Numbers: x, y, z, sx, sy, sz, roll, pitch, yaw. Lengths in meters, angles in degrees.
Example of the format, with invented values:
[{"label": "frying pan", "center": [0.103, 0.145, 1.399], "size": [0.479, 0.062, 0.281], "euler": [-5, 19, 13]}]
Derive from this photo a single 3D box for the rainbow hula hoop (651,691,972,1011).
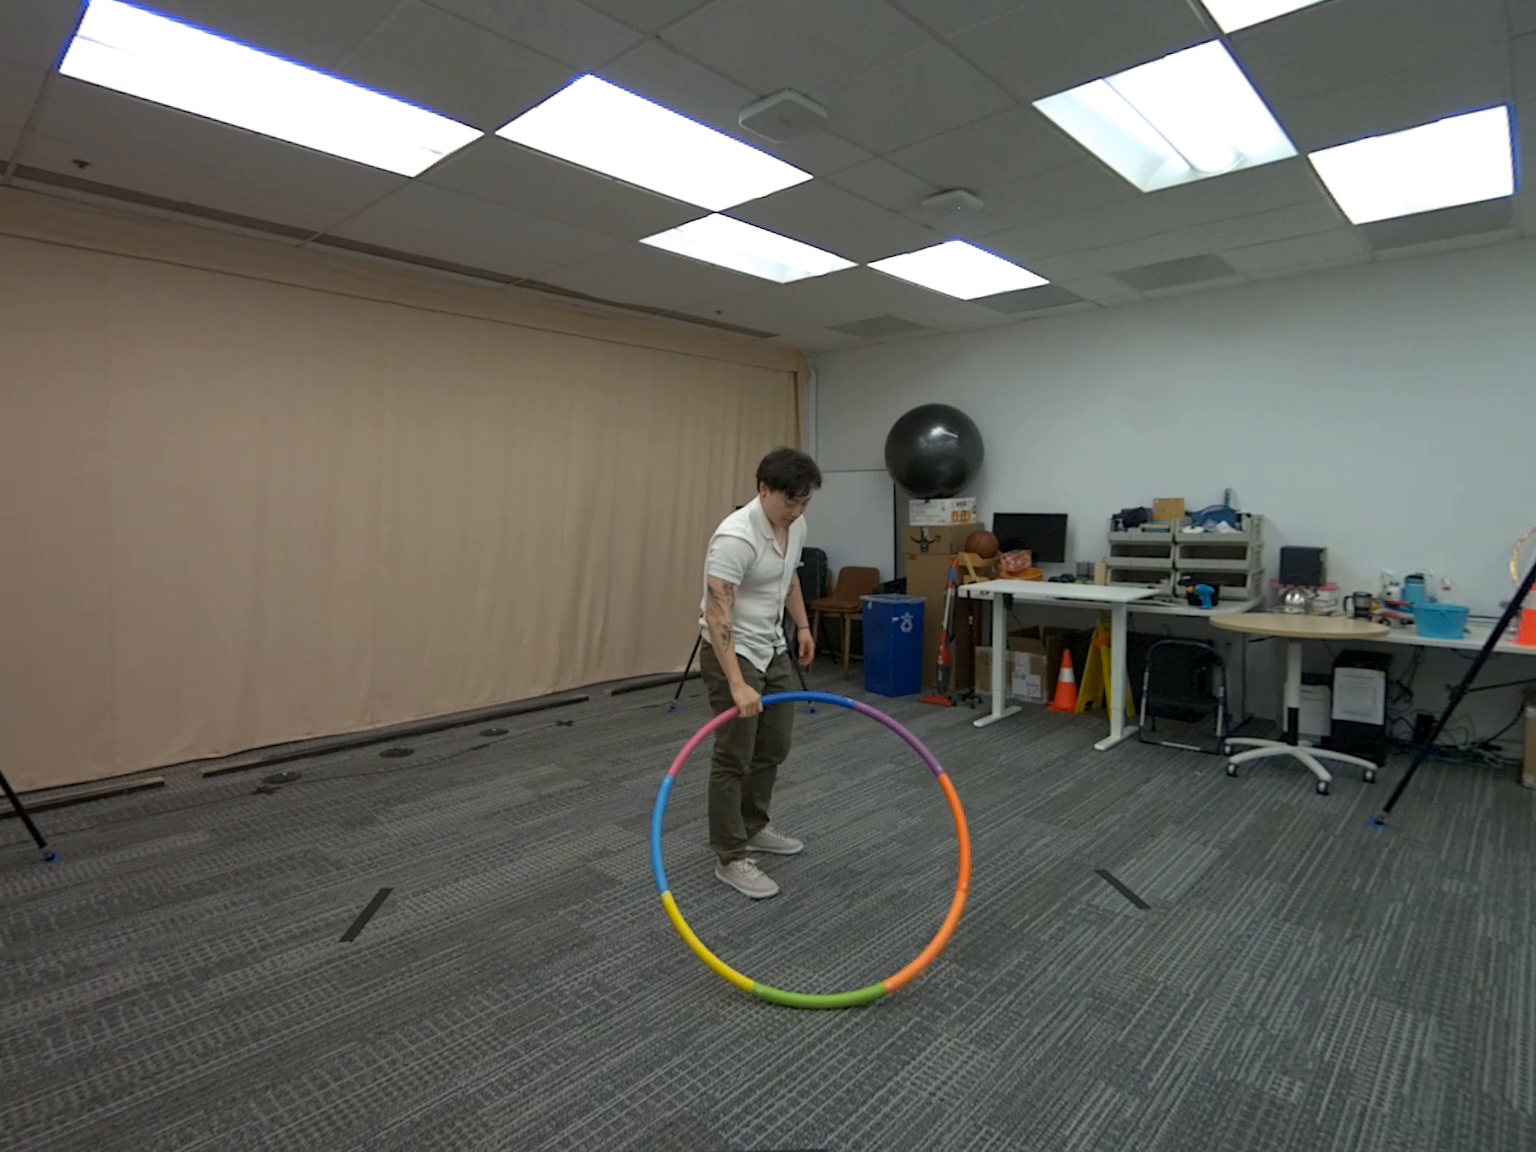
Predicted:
[{"label": "rainbow hula hoop", "center": [0.141, 0.797, 2.627], "size": [0.981, 0.996, 0.035], "euler": [-1, -39, 2]}]
